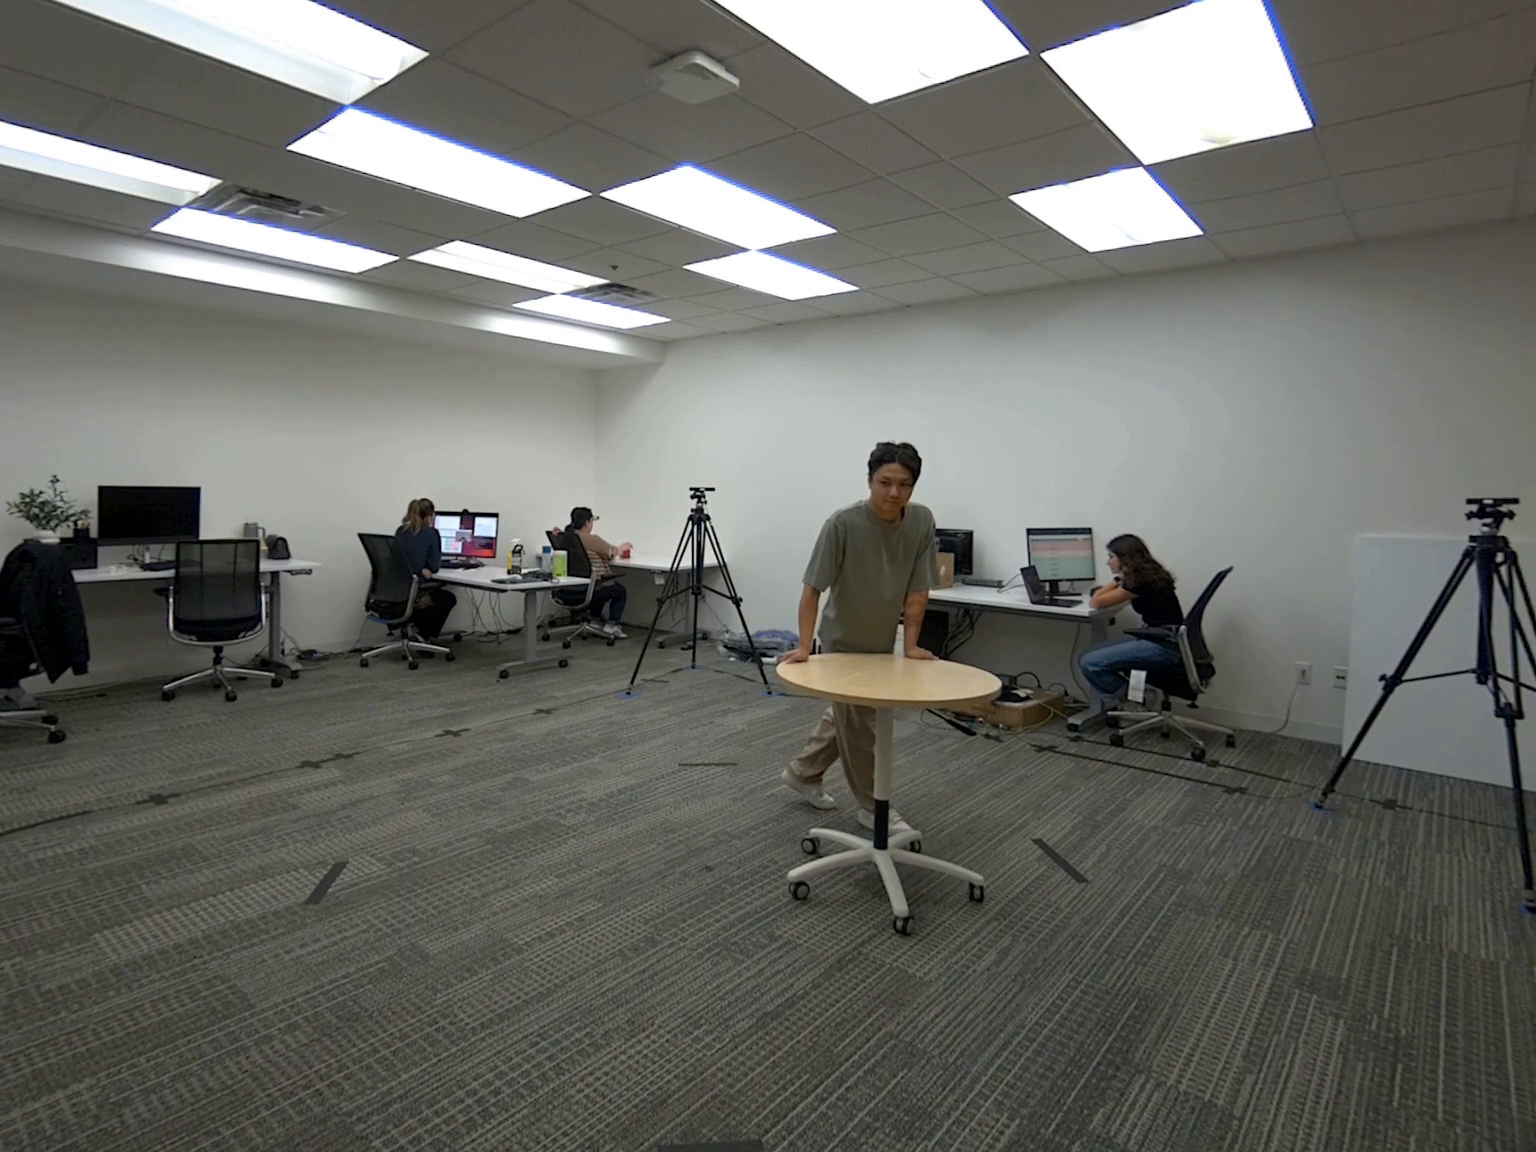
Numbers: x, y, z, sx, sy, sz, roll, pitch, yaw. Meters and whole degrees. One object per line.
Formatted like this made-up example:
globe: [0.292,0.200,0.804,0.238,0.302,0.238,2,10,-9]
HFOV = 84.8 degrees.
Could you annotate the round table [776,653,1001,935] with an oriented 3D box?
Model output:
round table: [0.377,0.711,2.985,0.784,0.784,0.788,2,4,-2]
